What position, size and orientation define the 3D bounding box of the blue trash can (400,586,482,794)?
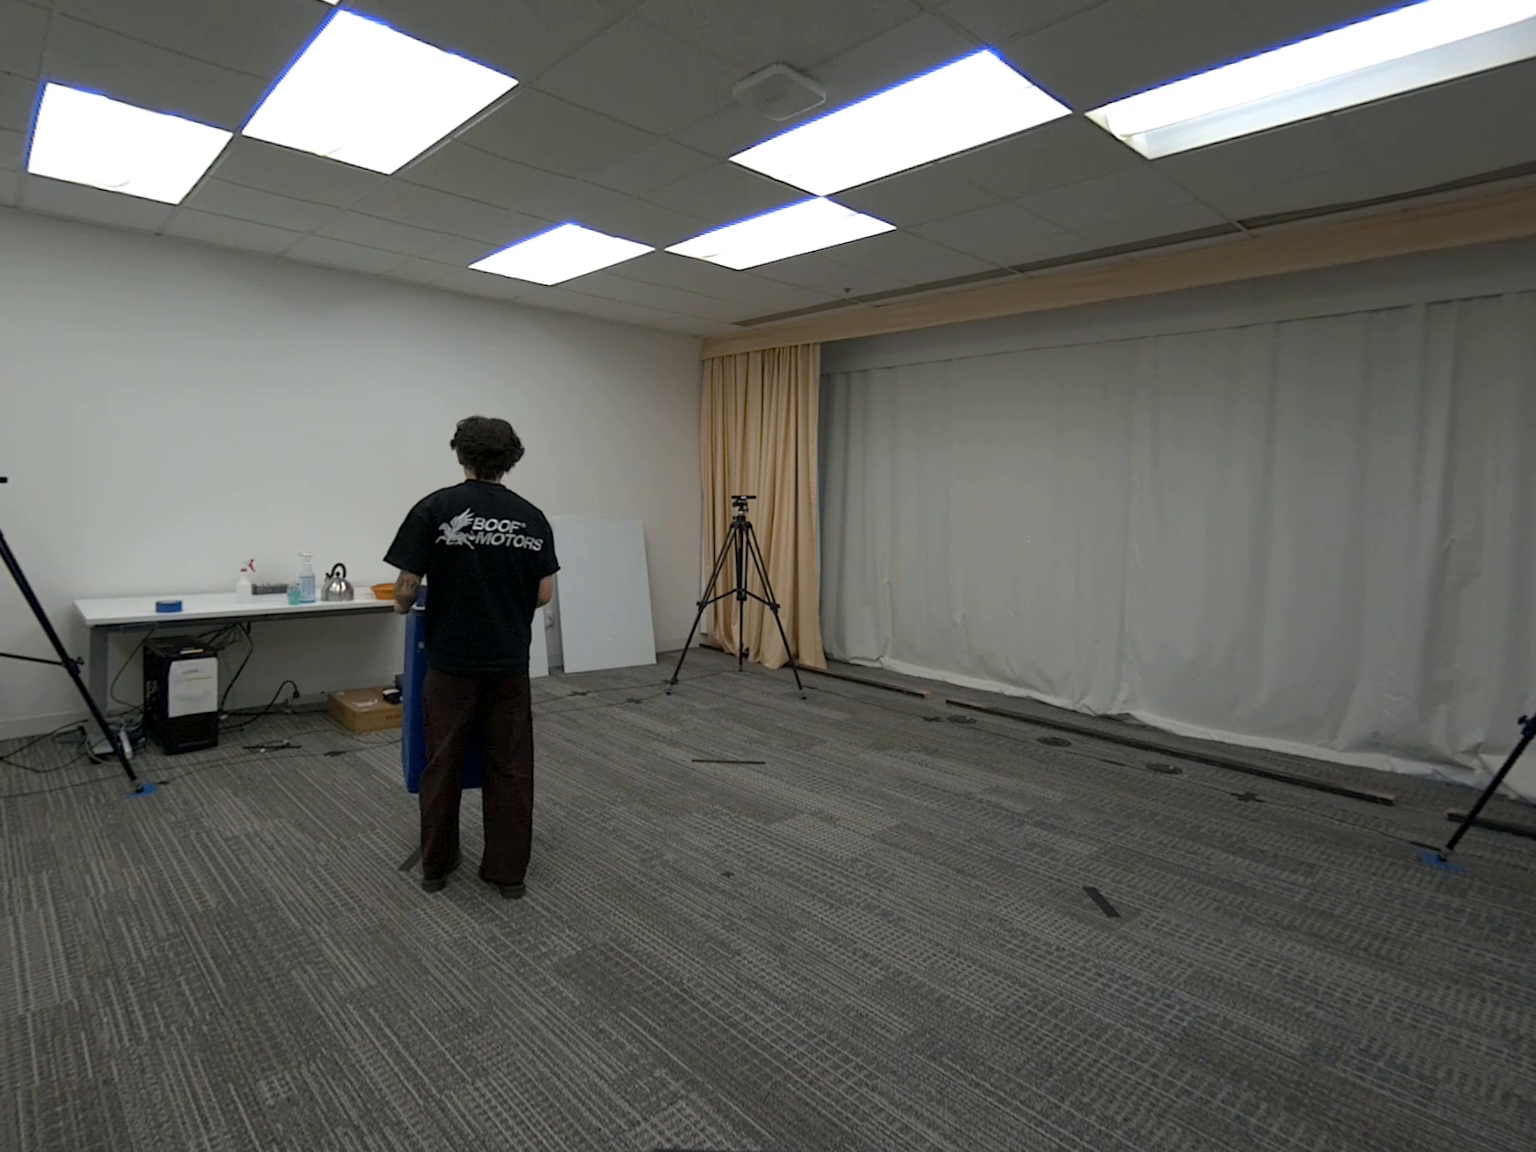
[{"bbox_3d":[-1.207,0.427,3.221,0.366,0.709,0.388,2,11,-29],"label":"blue trash can"}]
